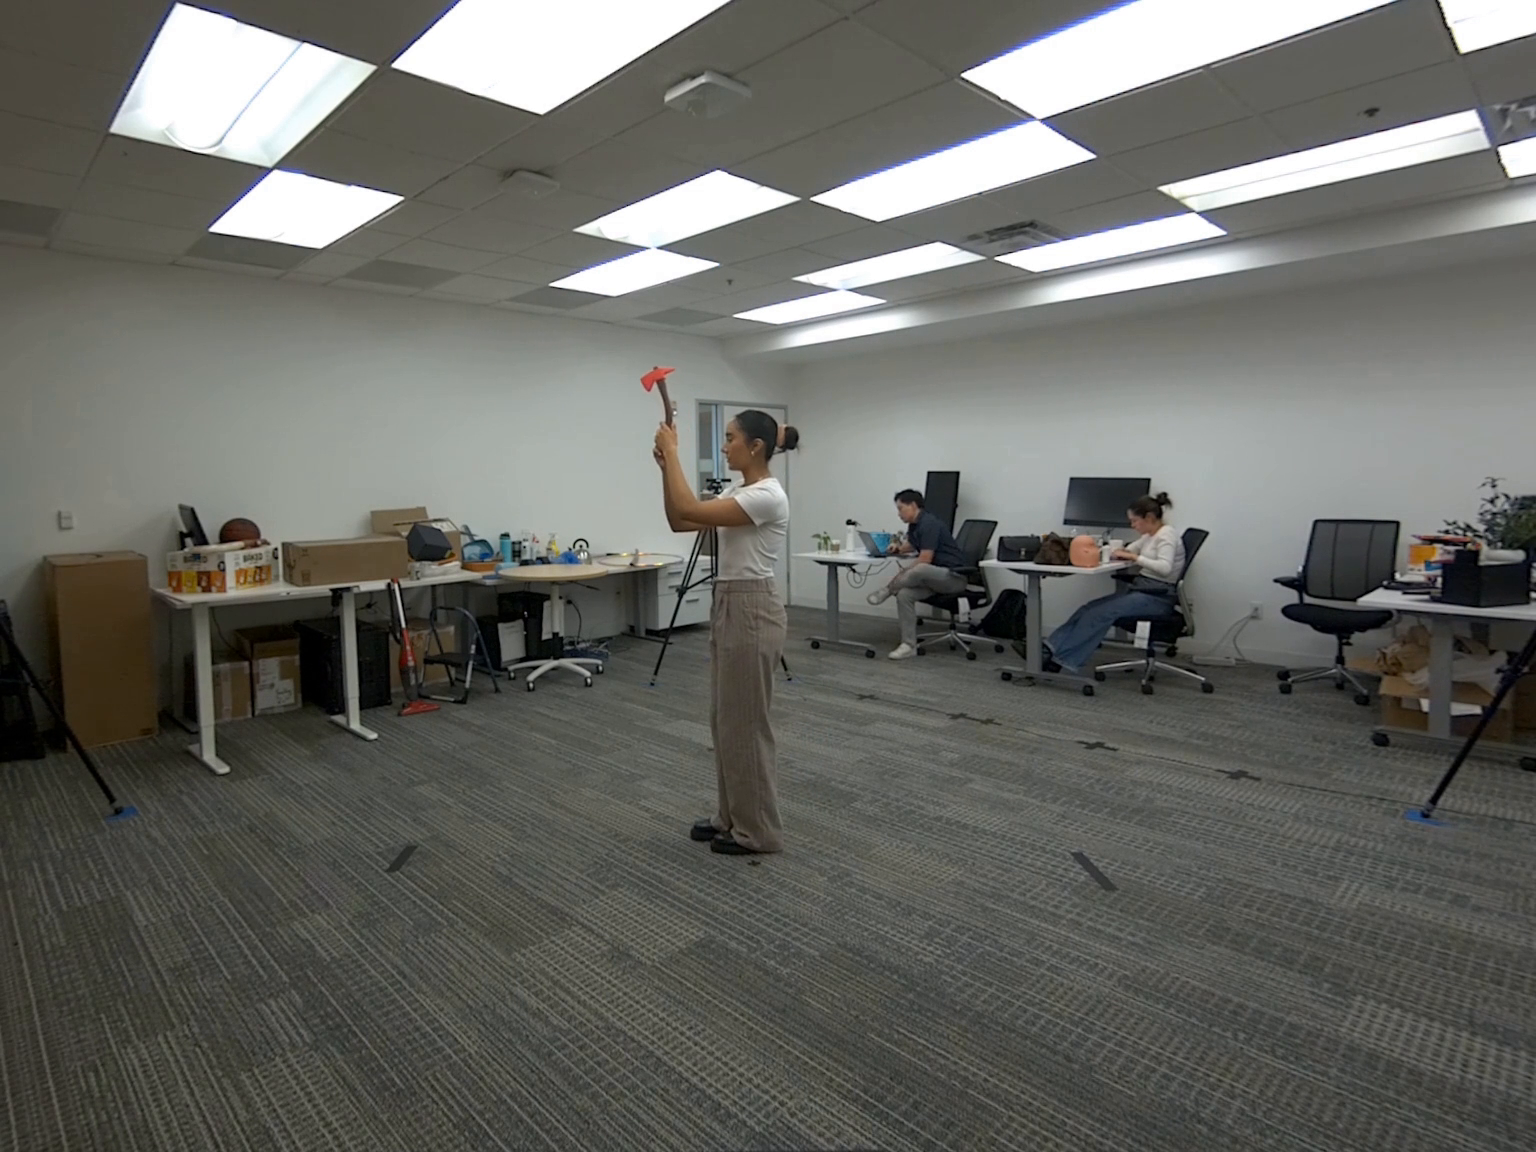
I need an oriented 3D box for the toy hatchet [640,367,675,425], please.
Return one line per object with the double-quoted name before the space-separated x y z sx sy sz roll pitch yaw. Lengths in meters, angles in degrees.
"toy hatchet" -0.407 -0.642 3.158 0.132 0.270 0.029 -1 0 6
